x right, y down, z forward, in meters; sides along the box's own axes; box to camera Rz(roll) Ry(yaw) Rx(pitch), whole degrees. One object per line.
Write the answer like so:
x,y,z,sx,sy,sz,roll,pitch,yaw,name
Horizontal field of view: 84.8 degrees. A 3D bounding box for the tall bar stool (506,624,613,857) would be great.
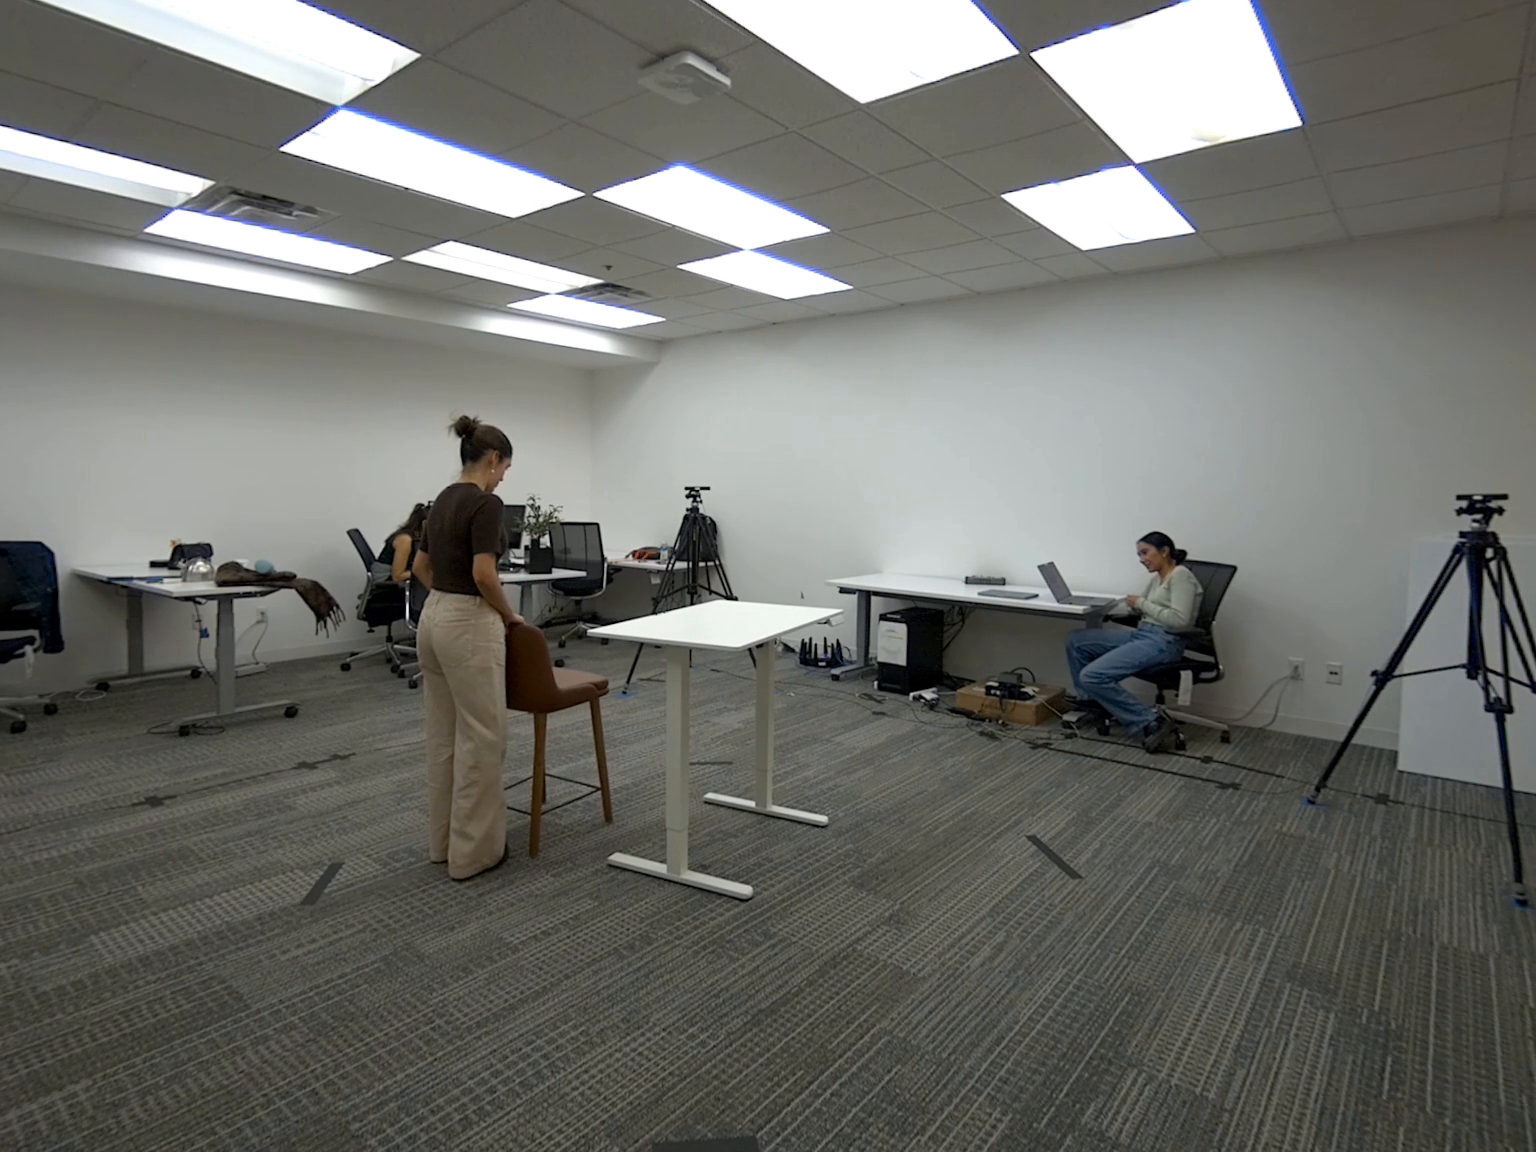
-0.940,0.587,3.426,0.470,0.886,0.456,2,5,31,tall bar stool
